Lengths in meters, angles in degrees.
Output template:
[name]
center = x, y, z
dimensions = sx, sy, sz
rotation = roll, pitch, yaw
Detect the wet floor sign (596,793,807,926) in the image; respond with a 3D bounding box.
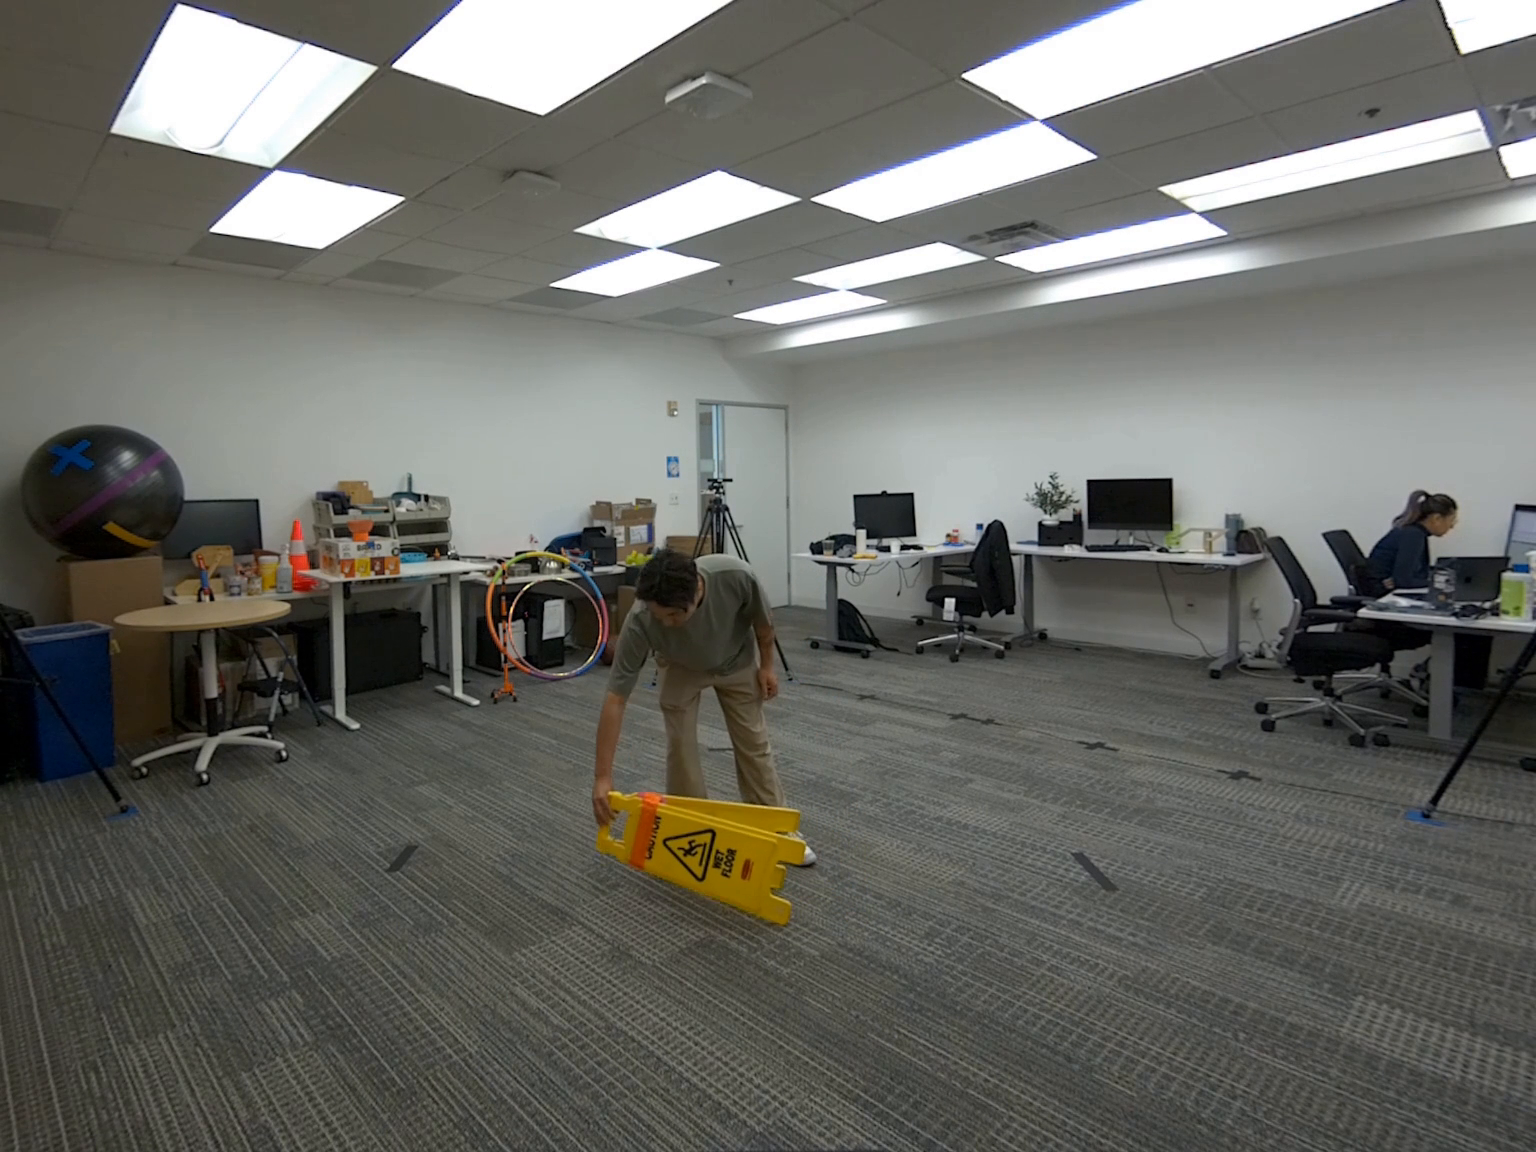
[wet floor sign]
center = -0.227, 0.873, 2.789
dimensions = 0.646, 0.281, 0.290
rotation = 13, 4, 0
